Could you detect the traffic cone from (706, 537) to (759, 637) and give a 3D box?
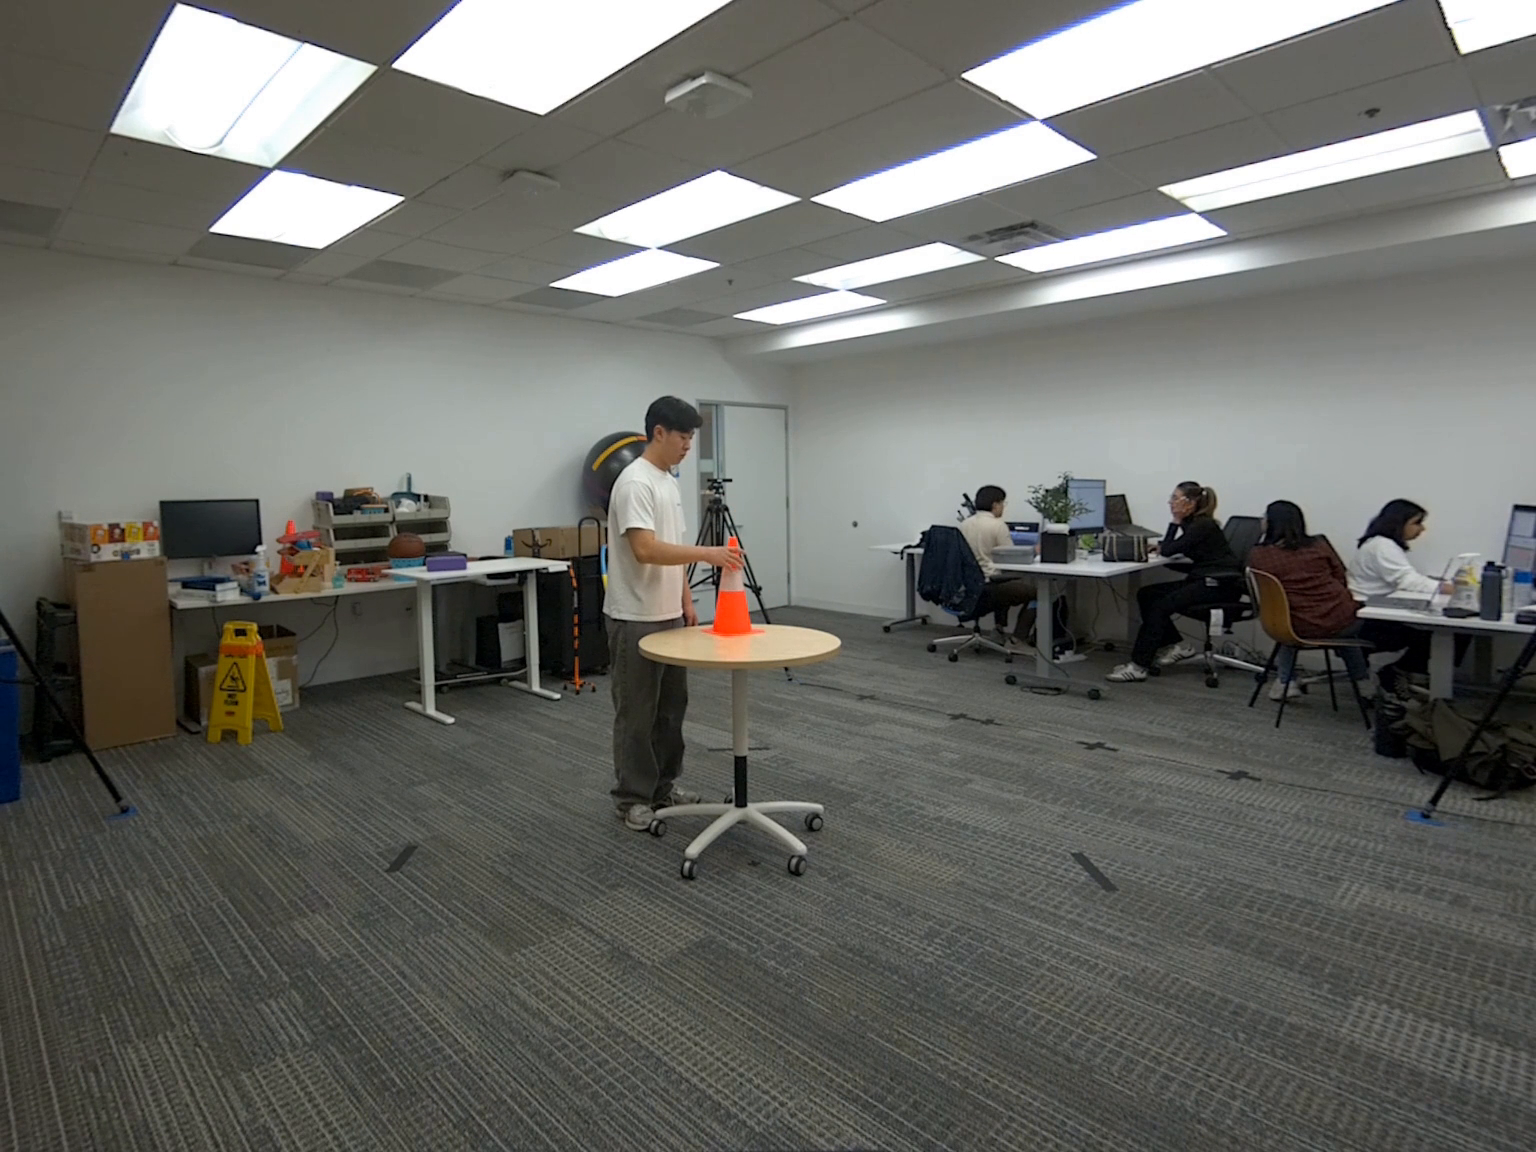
[{"bbox_3d":[-0.151,0.038,3.444,0.209,0.382,0.200,2,5,31],"label":"traffic cone"}]
